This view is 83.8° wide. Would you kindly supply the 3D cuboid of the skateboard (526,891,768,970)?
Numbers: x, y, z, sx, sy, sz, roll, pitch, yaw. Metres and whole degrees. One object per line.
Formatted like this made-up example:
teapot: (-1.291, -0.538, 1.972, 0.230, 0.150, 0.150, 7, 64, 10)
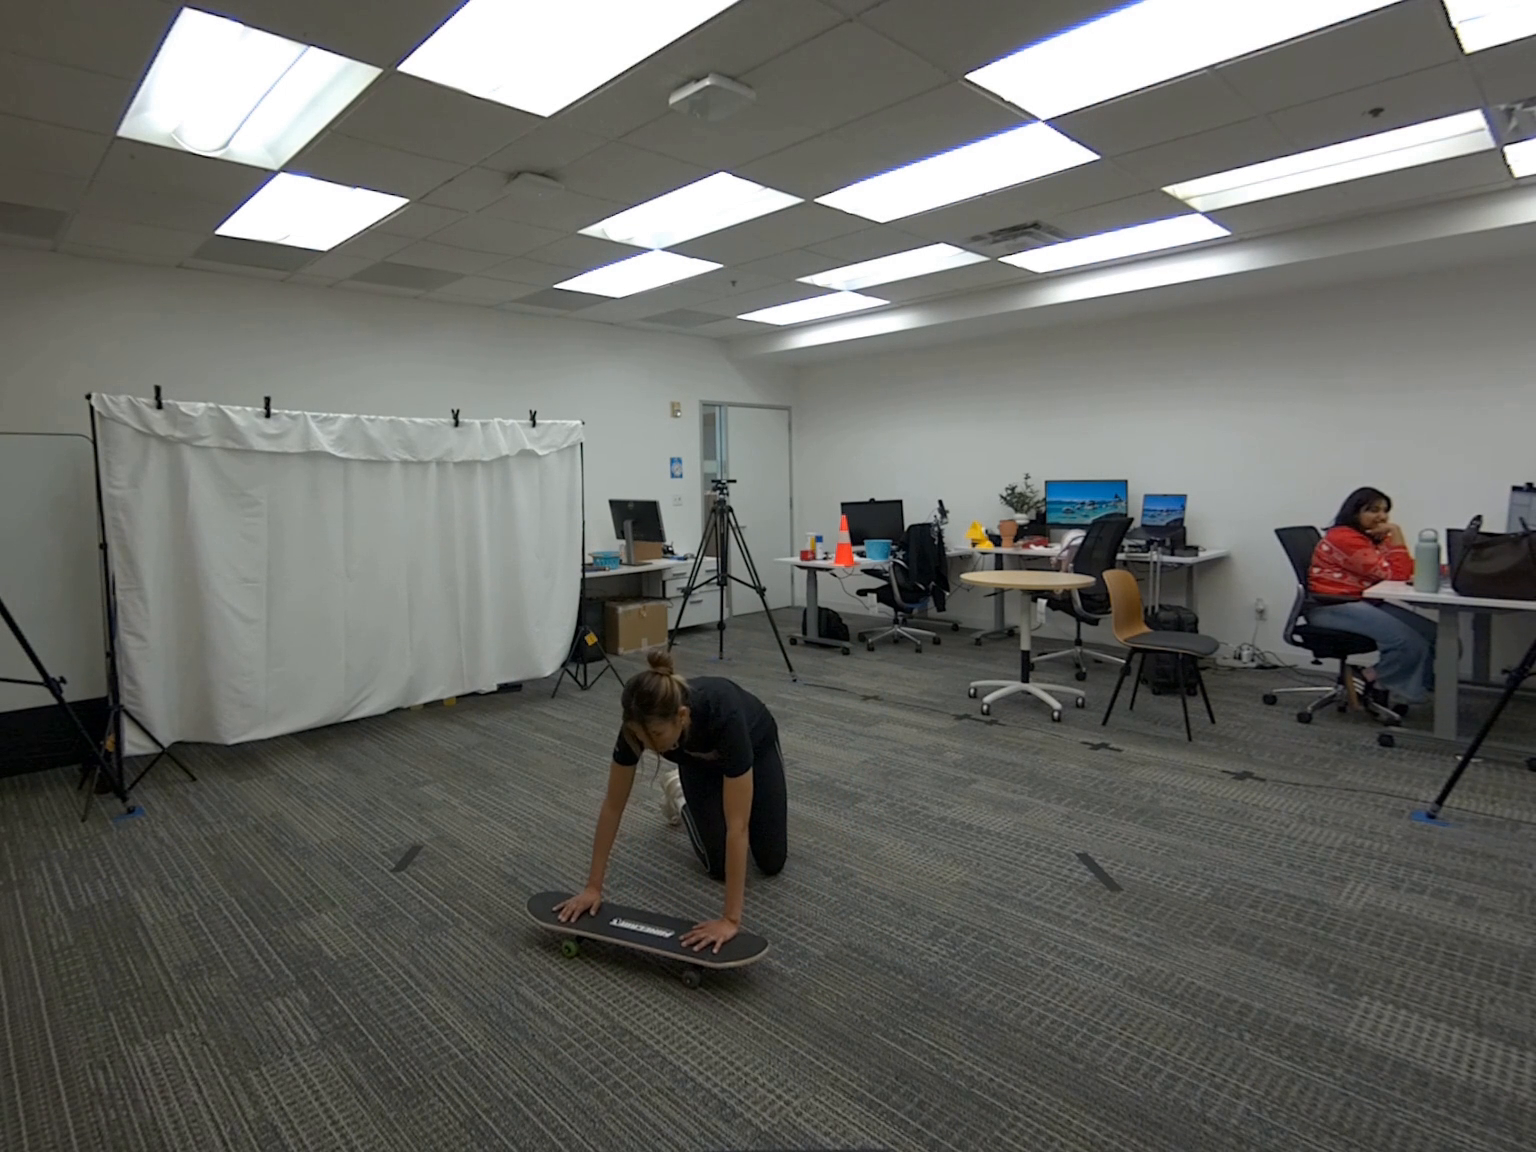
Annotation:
skateboard: (-0.364, 1.067, 2.517, 0.803, 0.110, 0.190, 2, 5, 24)
